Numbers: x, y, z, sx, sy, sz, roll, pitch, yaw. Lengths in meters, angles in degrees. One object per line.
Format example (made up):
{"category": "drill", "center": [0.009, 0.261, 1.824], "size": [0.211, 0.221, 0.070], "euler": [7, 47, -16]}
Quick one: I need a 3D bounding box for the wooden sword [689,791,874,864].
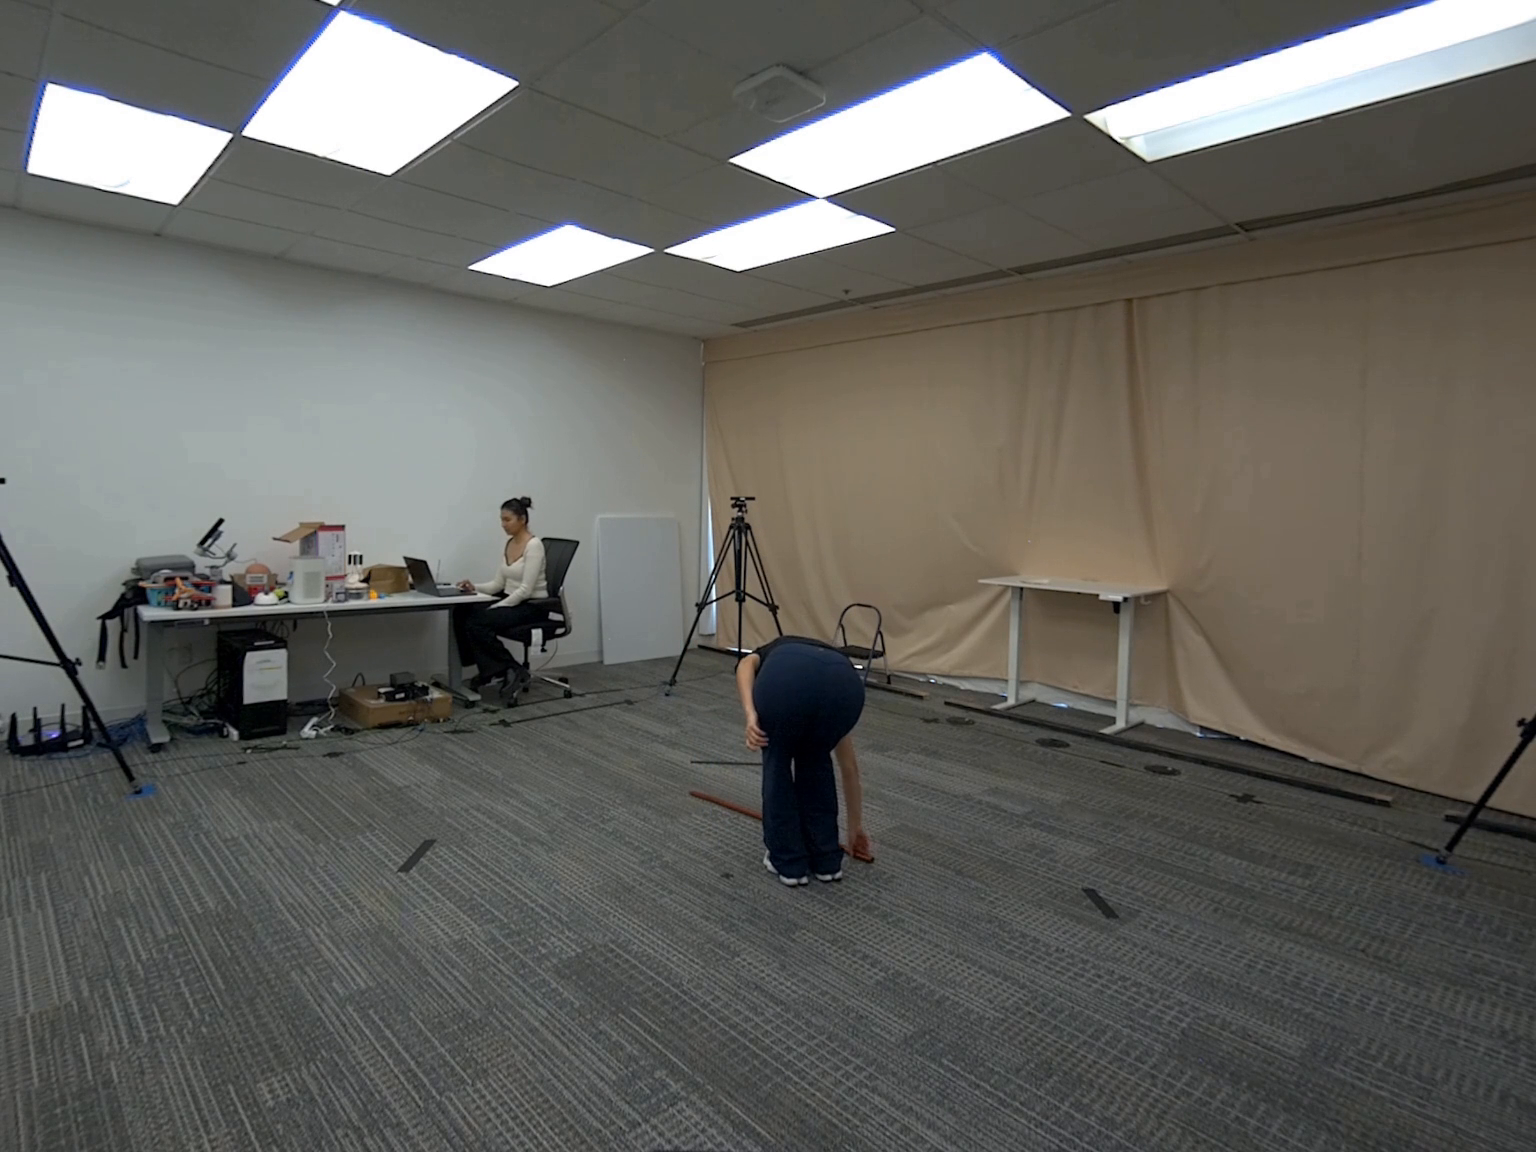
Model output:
{"category": "wooden sword", "center": [0.023, 1.044, 3.588], "size": [1.051, 0.024, 0.050], "euler": [5, 4, 43]}
